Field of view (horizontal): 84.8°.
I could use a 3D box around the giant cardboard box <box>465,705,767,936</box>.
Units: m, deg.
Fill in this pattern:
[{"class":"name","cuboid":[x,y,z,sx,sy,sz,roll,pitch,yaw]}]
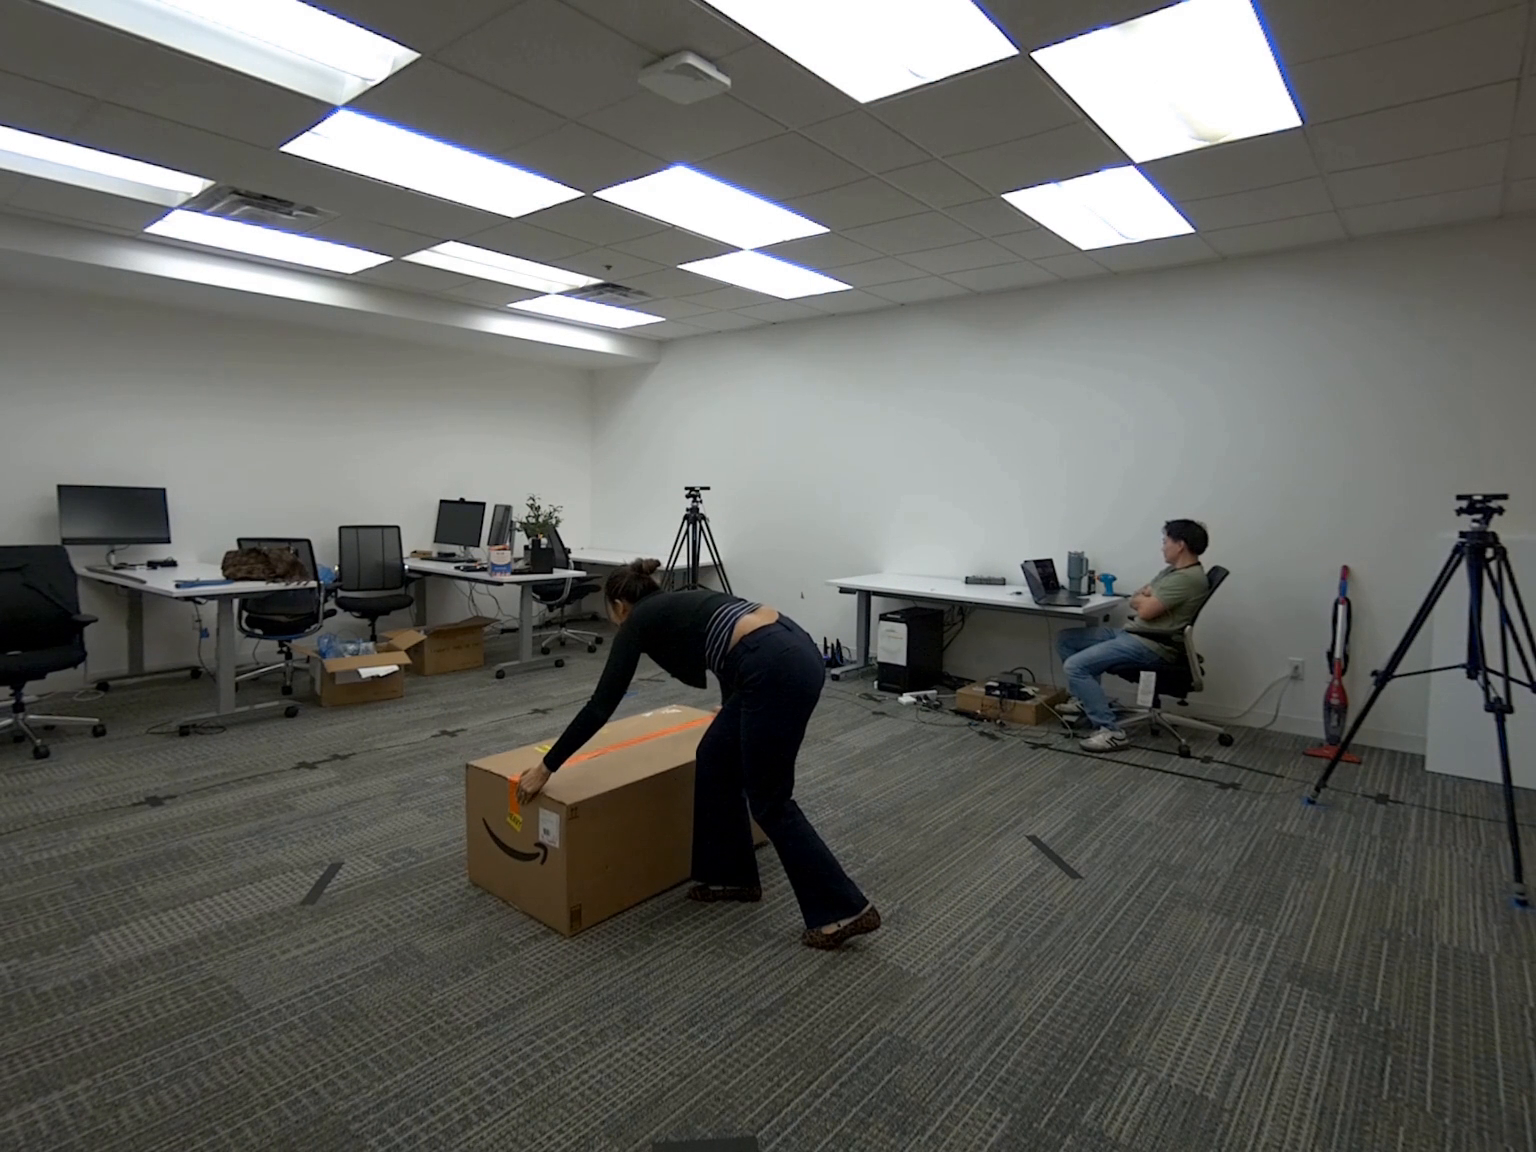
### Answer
[{"class":"giant cardboard box","cuboid":[-0.526,0.828,3.152,0.597,0.424,0.996,5,8,40]}]
